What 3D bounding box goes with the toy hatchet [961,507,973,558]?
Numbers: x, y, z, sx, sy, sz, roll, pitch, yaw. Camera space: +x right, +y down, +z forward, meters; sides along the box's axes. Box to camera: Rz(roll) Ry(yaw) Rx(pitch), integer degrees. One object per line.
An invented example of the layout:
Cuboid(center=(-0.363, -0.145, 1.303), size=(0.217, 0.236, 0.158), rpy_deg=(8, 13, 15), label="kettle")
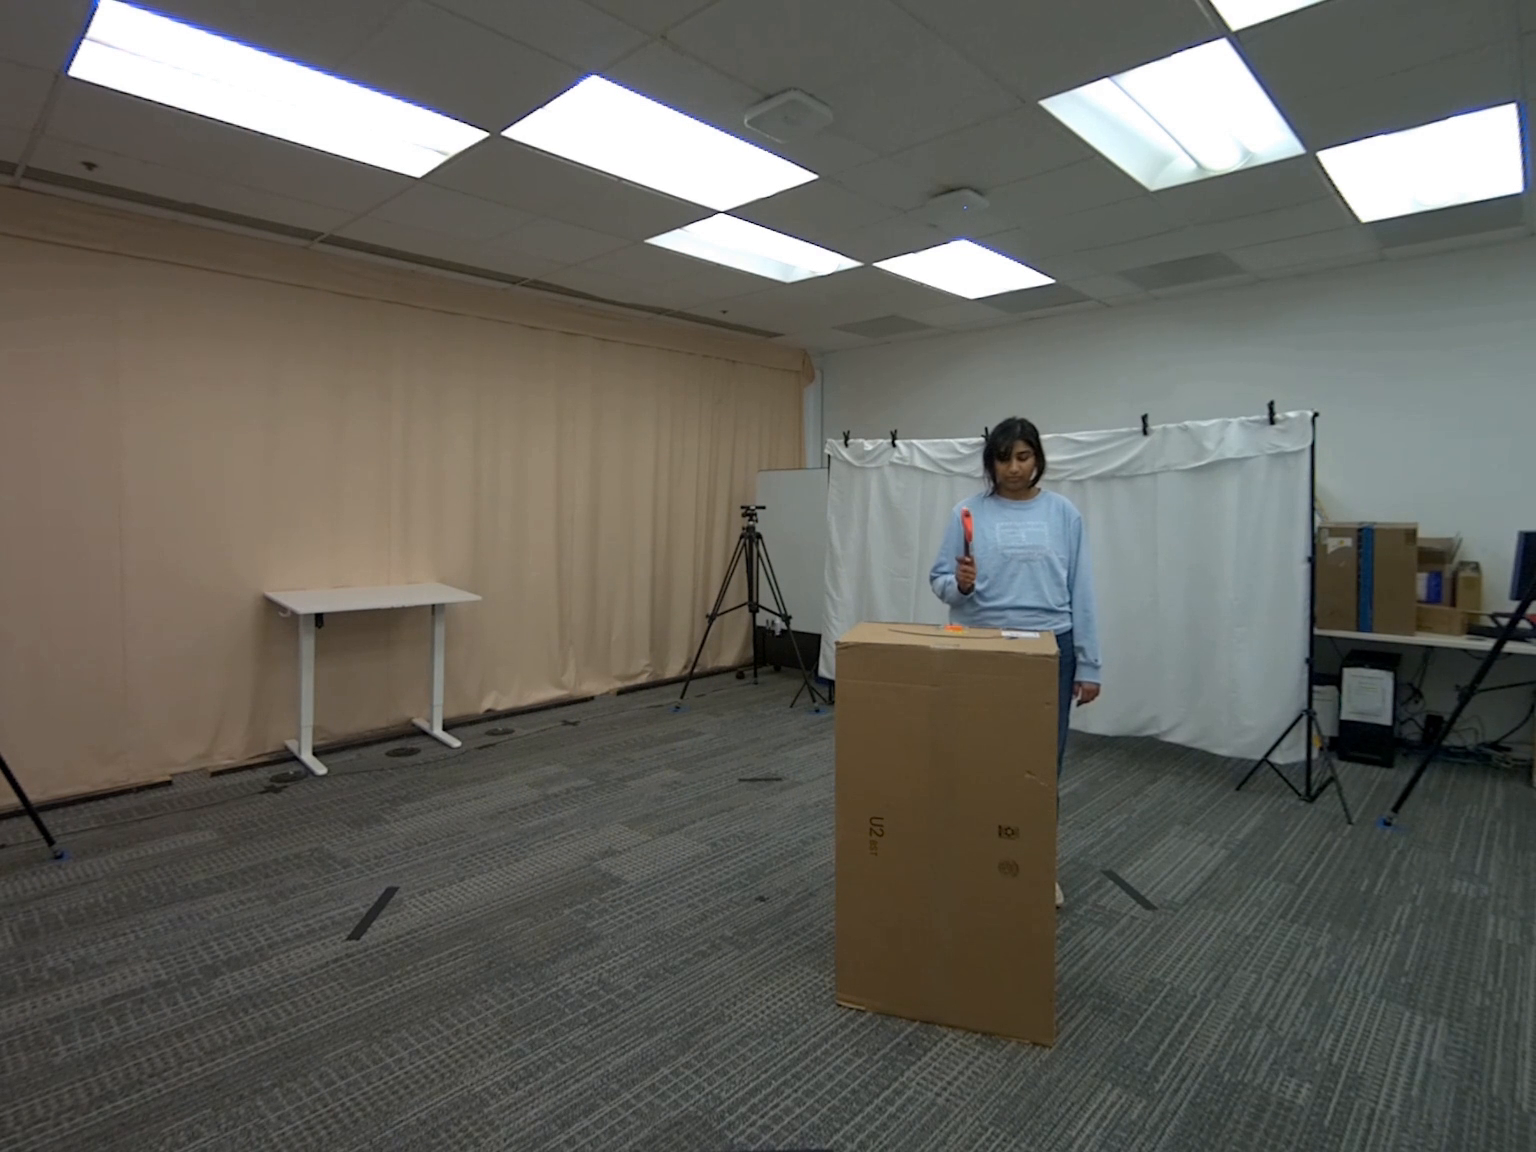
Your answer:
Cuboid(center=(0.664, -0.083, 2.738), size=(0.030, 0.266, 0.132), rpy_deg=(-6, 22, 3), label="toy hatchet")
